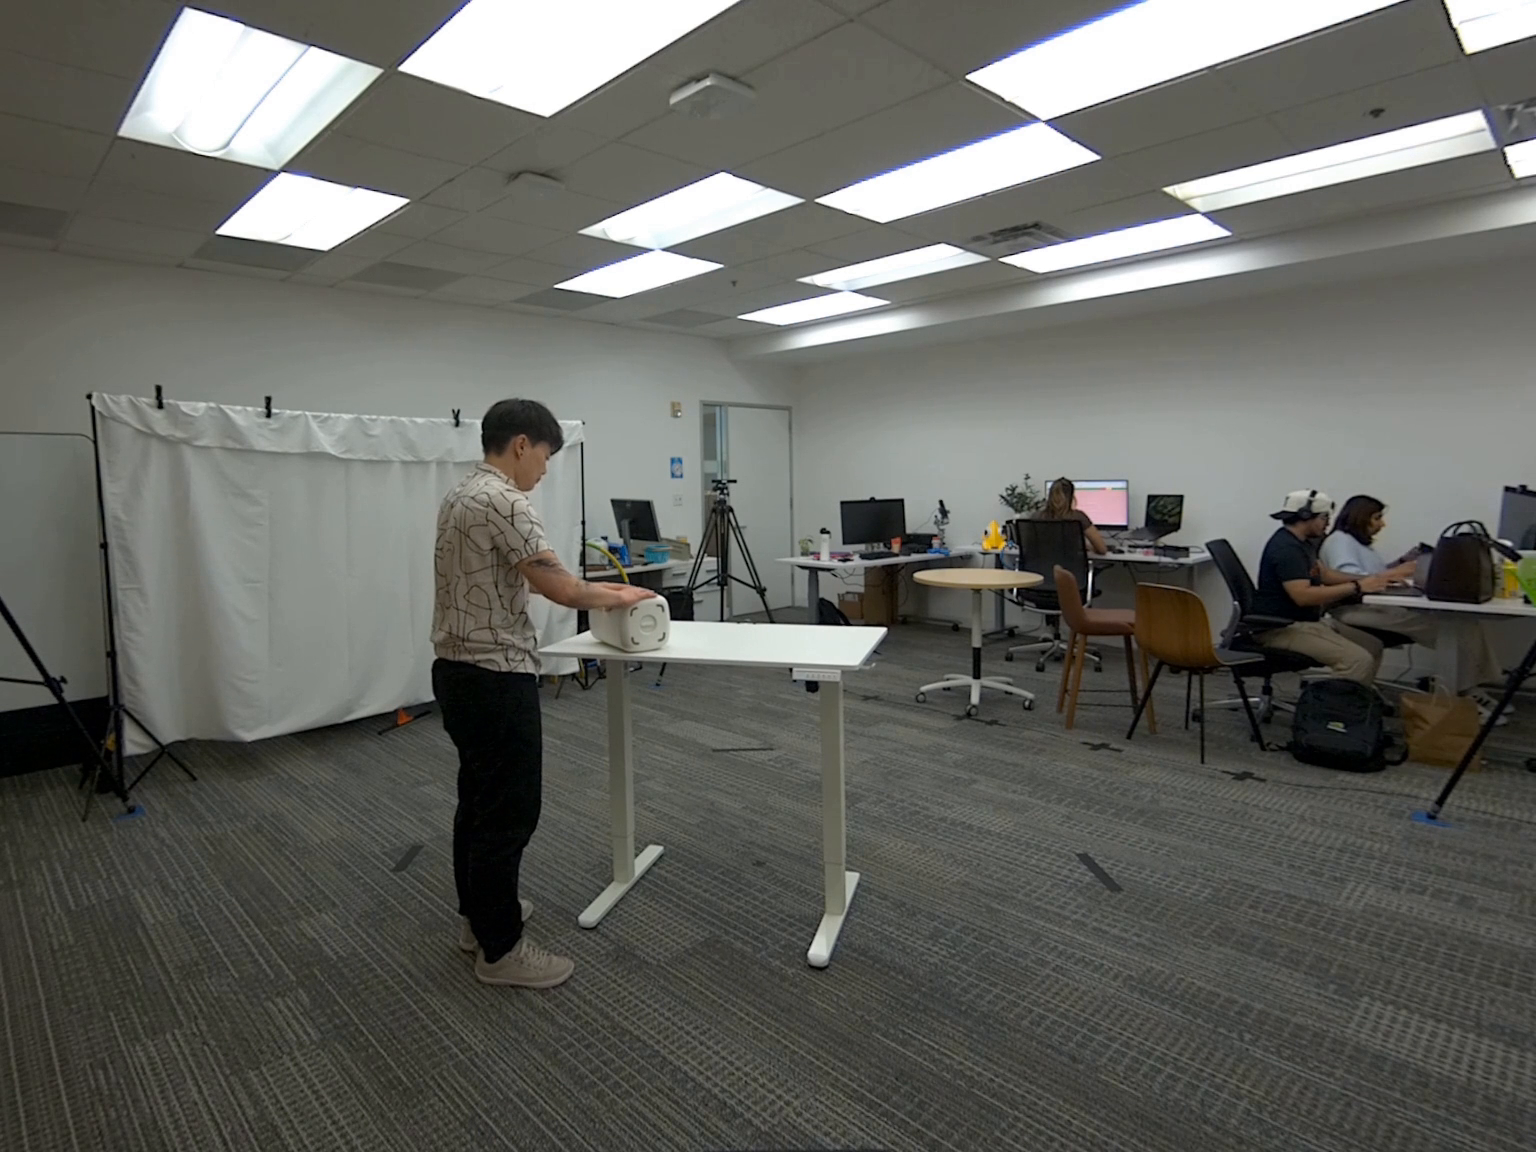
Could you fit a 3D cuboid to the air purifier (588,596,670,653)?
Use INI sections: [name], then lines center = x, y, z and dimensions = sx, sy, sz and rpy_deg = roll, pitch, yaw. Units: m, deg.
[air purifier]
center = -0.433, 0.134, 2.693
dimensions = 0.167, 0.170, 0.273
rpy_deg = -5, 7, -32
